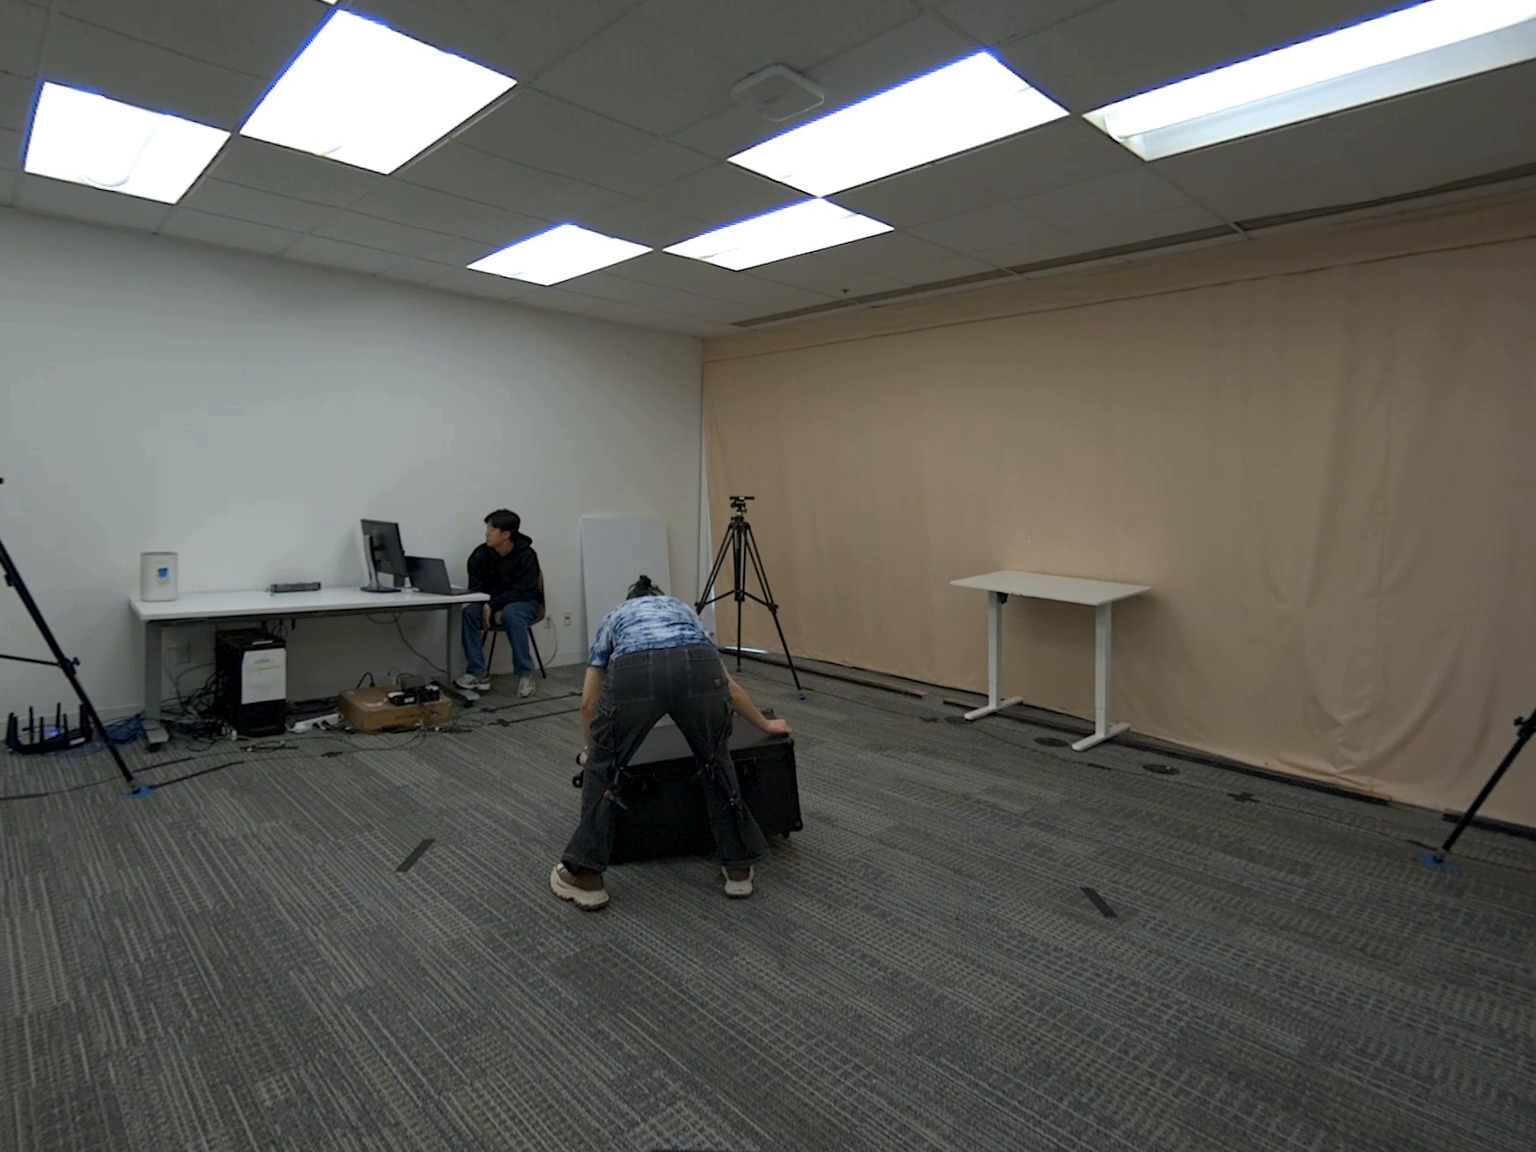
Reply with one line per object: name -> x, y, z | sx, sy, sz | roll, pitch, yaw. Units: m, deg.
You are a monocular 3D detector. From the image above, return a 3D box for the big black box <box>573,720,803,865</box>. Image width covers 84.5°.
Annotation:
big black box -> -0.300, 0.836, 3.419 | 0.856, 0.394, 0.527 | -7, 6, -9
